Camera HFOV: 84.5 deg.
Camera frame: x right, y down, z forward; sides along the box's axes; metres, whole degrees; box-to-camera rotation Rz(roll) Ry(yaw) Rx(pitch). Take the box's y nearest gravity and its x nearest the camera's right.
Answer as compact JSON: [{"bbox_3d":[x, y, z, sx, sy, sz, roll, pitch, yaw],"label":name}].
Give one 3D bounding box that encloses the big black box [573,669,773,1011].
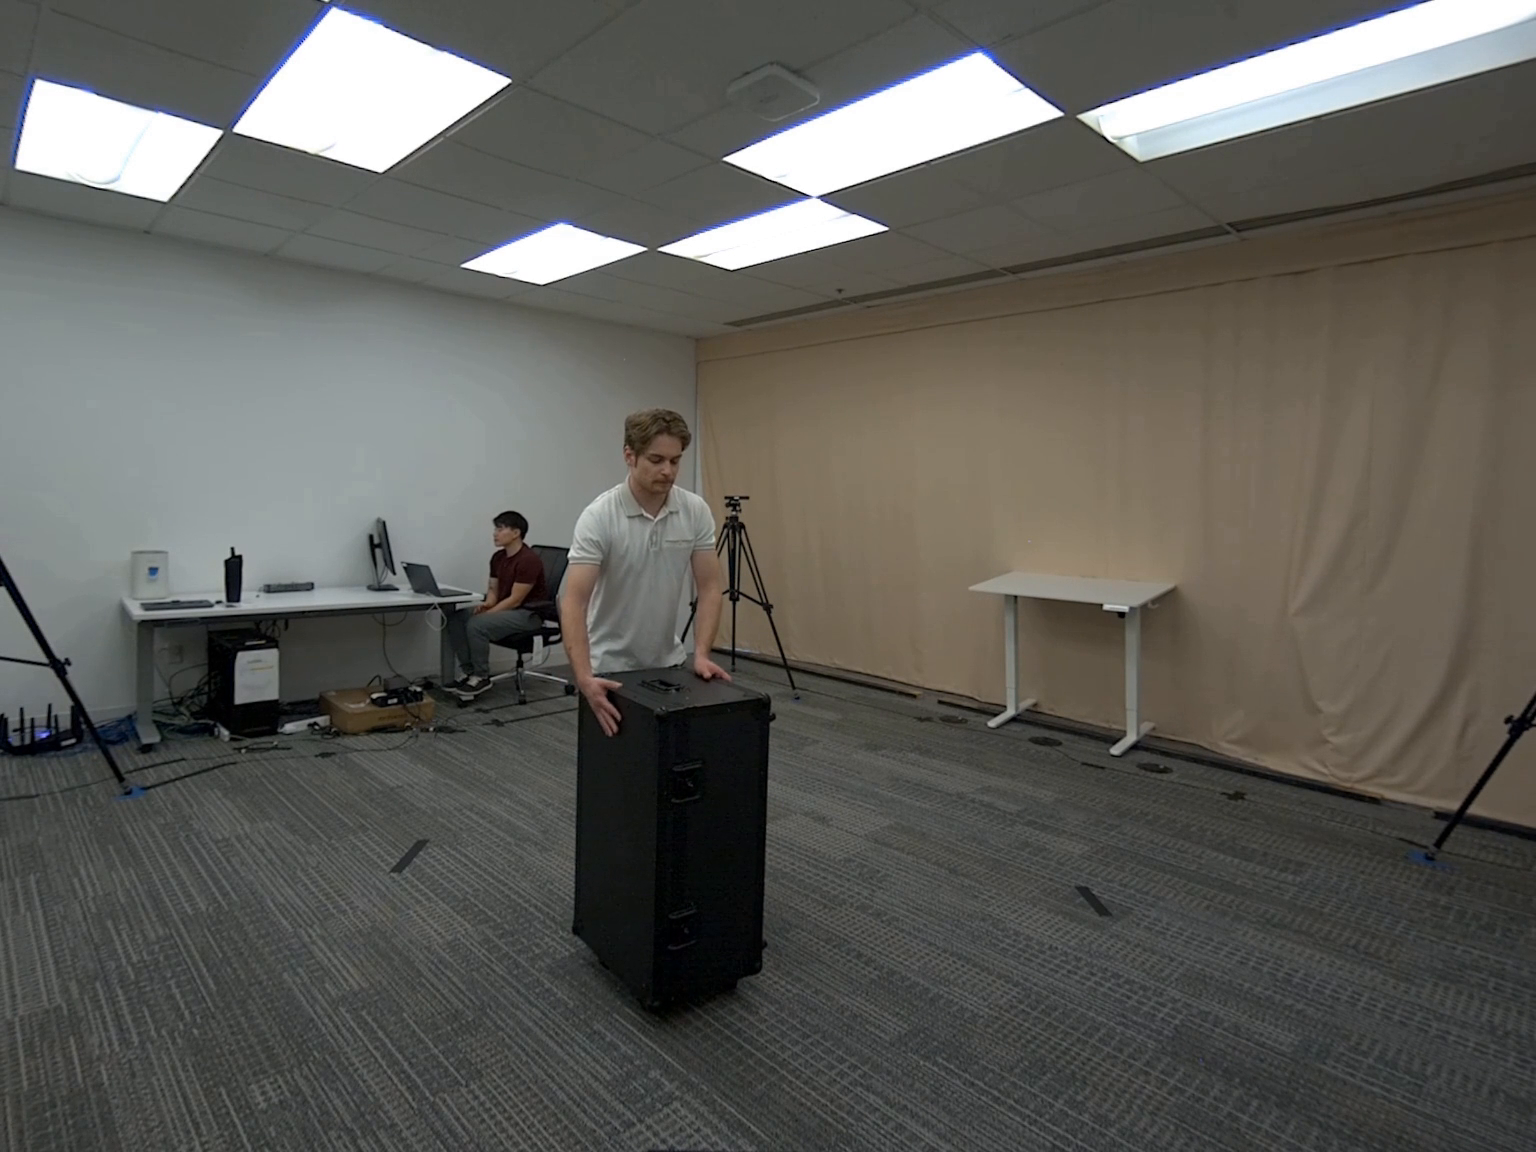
[{"bbox_3d":[-0.296,0.747,2.425,0.376,0.866,0.536,-1,5,-37],"label":"big black box"}]
